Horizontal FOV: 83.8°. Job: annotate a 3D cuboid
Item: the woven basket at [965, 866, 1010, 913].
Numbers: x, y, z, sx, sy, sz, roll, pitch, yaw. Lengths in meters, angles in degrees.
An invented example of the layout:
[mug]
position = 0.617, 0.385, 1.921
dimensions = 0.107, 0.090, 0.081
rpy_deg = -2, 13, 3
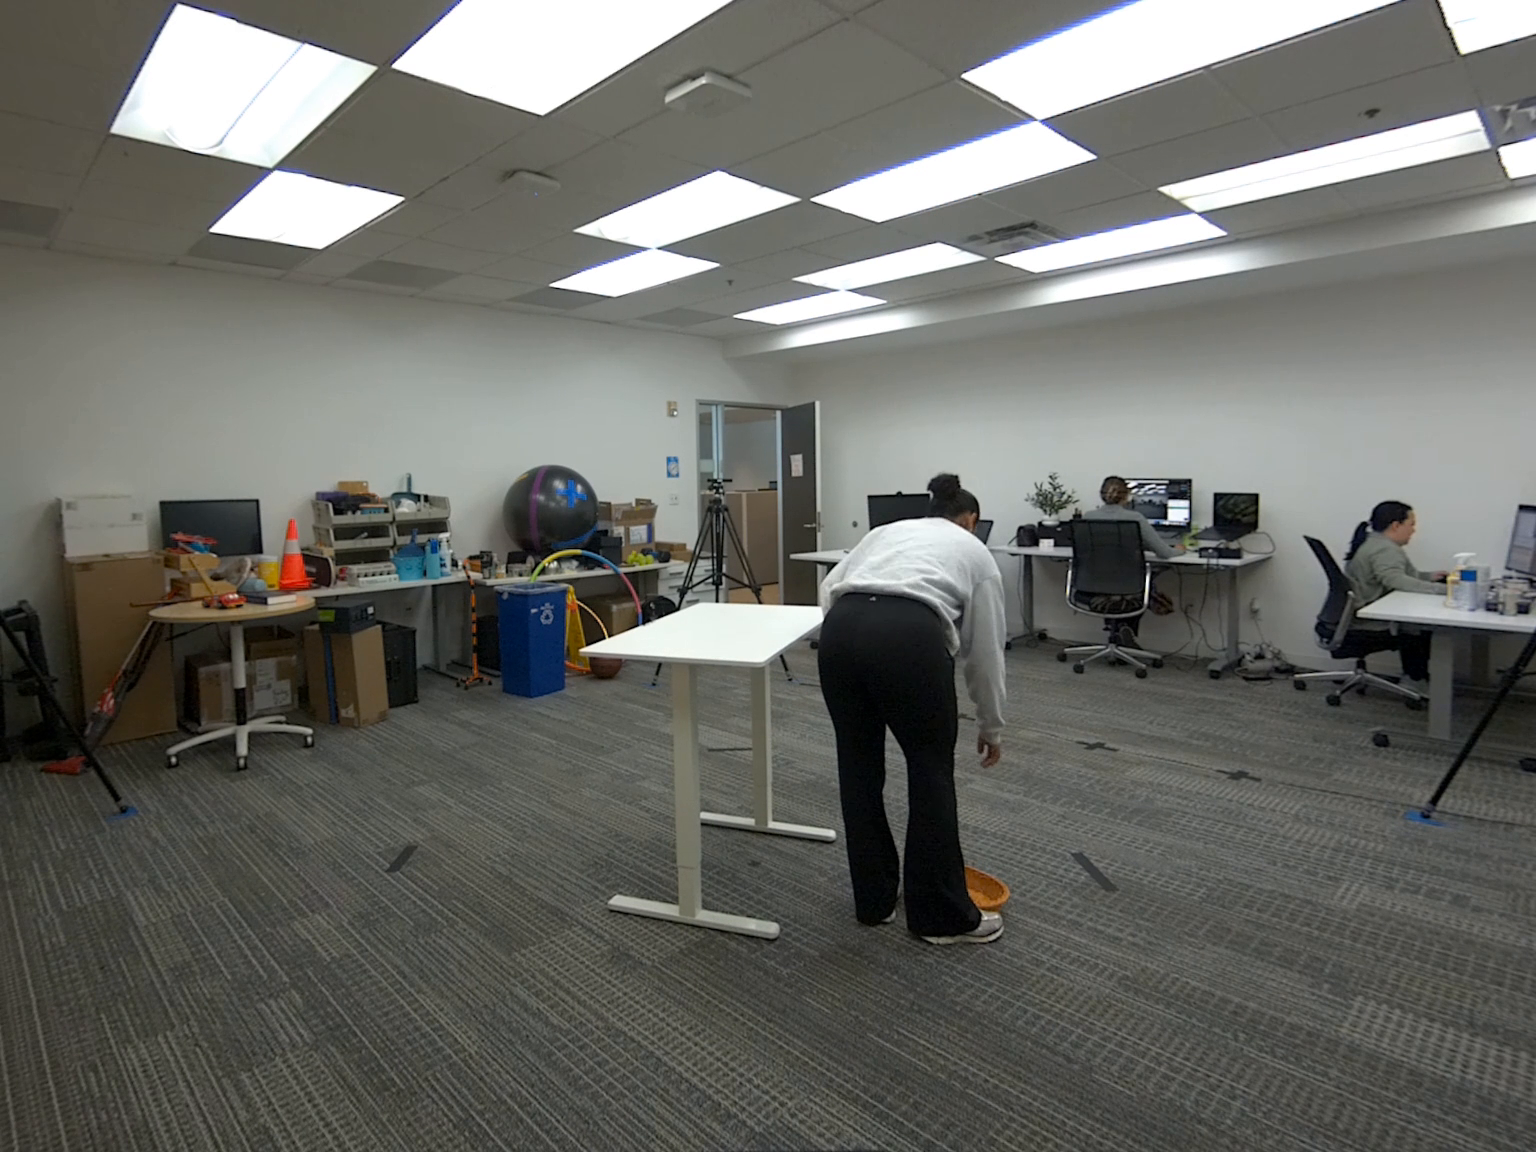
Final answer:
[woven basket]
position = 0.620, 1.026, 2.801
dimensions = 0.246, 0.073, 0.361
rpy_deg = -6, 8, -42
